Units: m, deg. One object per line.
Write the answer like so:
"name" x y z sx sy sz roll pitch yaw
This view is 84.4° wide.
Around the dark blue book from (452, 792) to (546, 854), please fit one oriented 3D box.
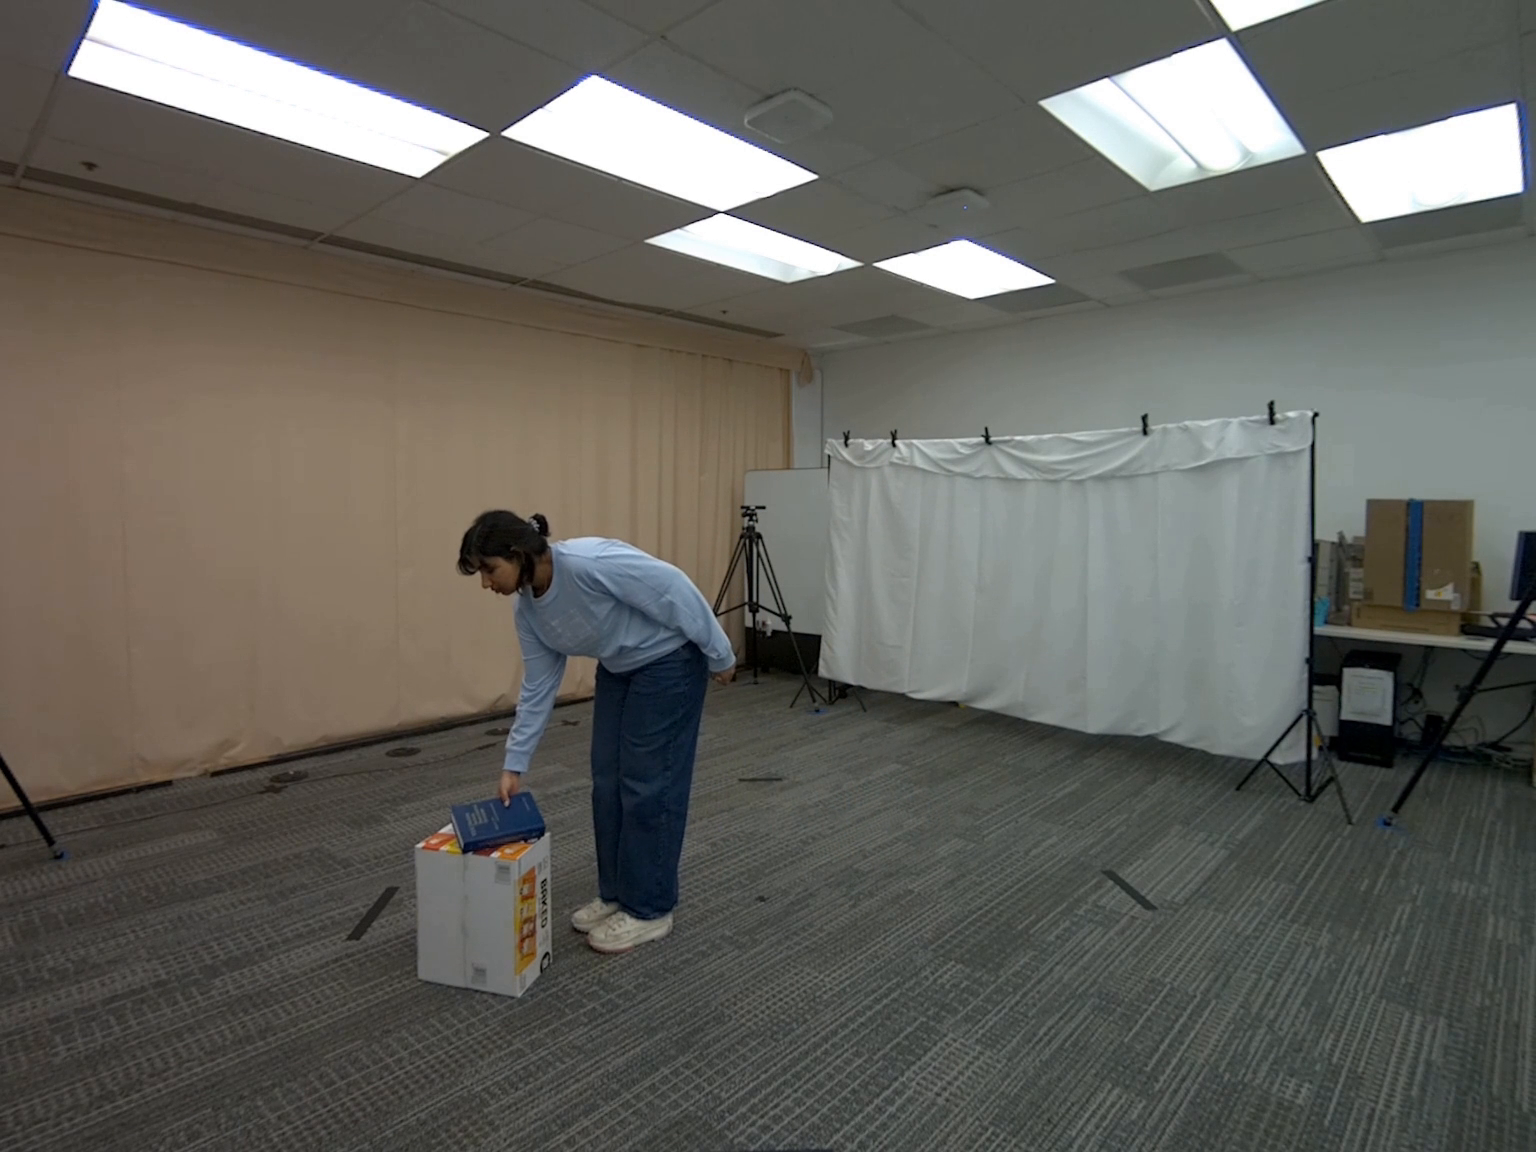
"dark blue book" -0.811 0.739 2.507 0.238 0.045 0.169 -3 24 -31
